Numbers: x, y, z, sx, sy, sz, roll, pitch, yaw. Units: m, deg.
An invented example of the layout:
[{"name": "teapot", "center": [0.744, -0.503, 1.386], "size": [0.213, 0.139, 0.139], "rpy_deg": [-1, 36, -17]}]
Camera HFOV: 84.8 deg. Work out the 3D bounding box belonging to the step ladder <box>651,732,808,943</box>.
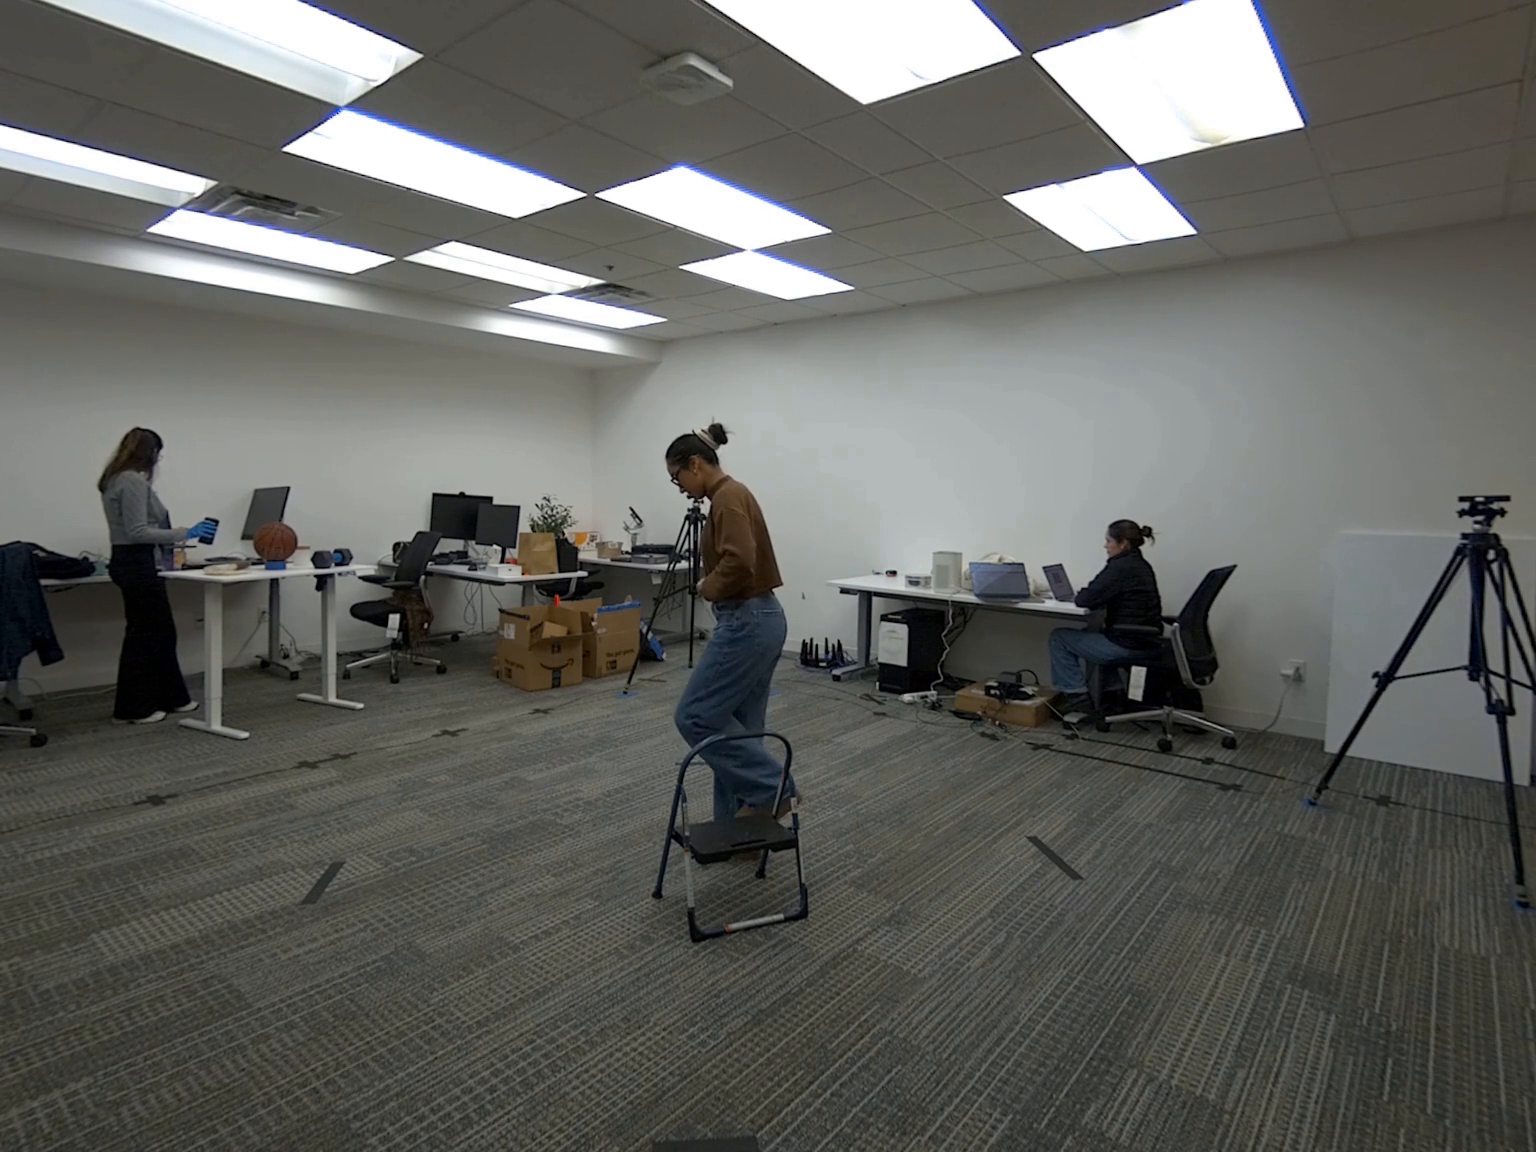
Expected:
[{"name": "step ladder", "center": [-0.136, 0.794, 2.814], "size": [0.420, 0.604, 0.359], "rpy_deg": [-1, 4, -27]}]
